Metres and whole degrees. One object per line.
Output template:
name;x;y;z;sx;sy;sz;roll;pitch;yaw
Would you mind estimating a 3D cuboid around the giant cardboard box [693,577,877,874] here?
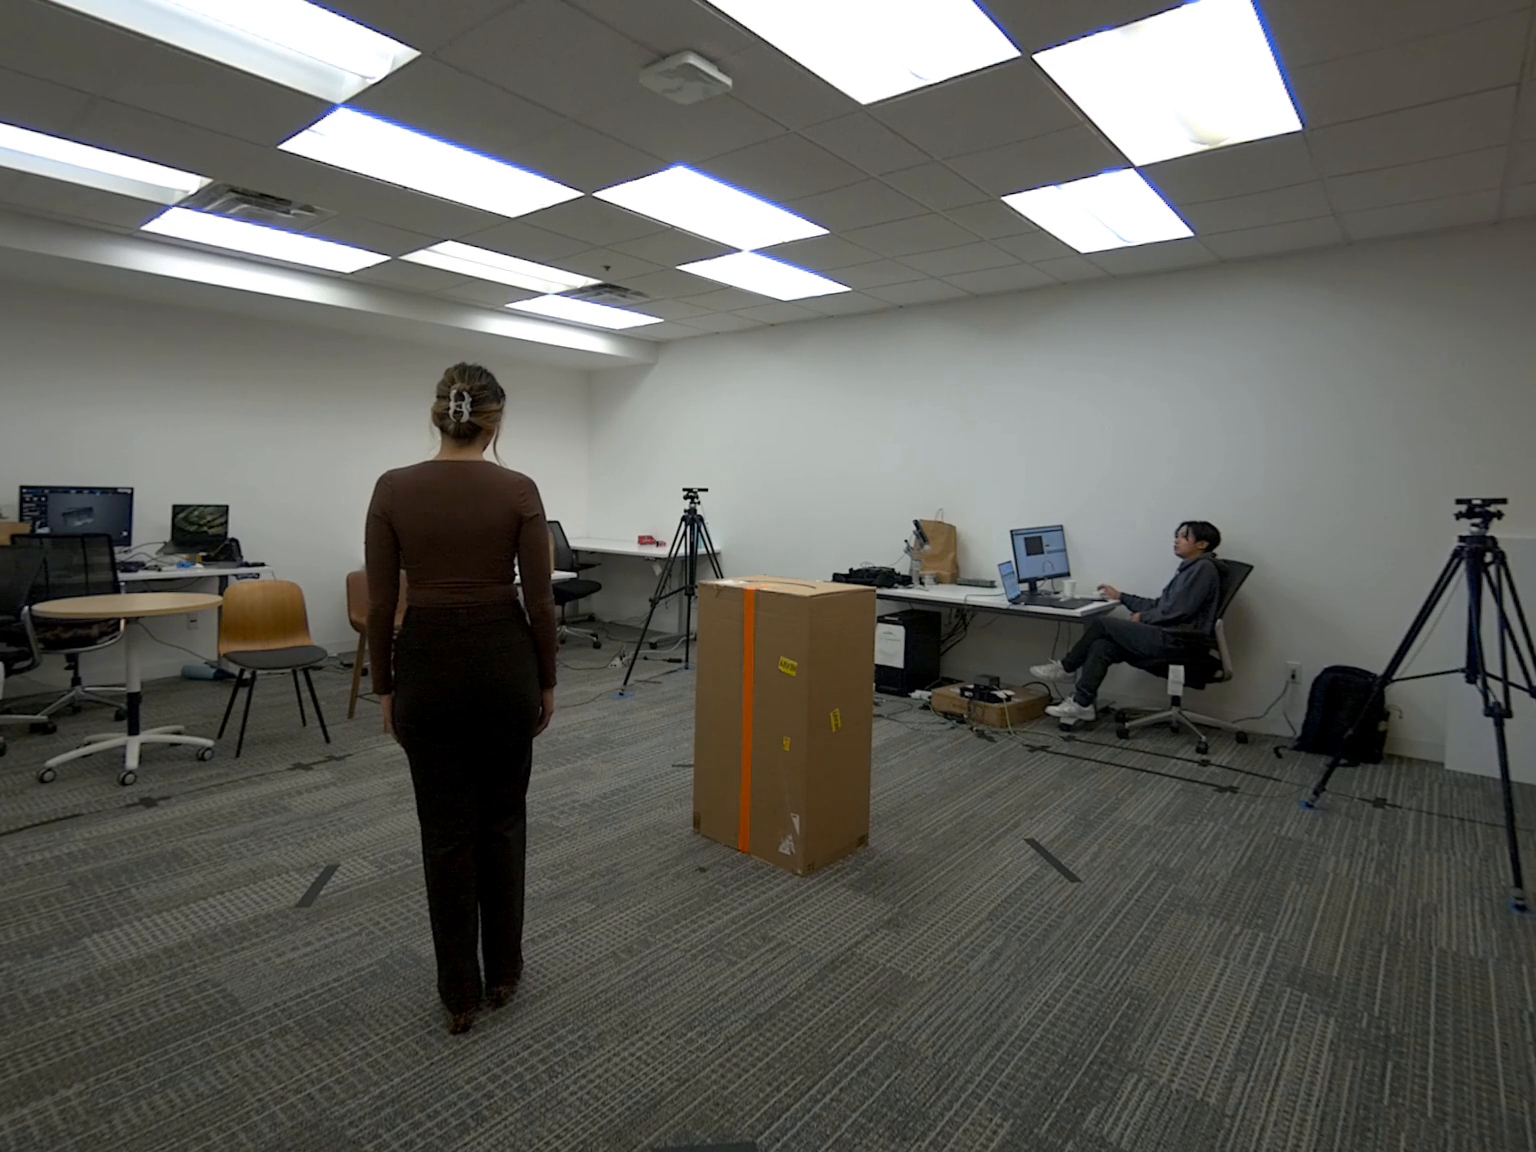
giant cardboard box;0.049;0.538;3.381;0.604;1.024;0.433;4;5;43
